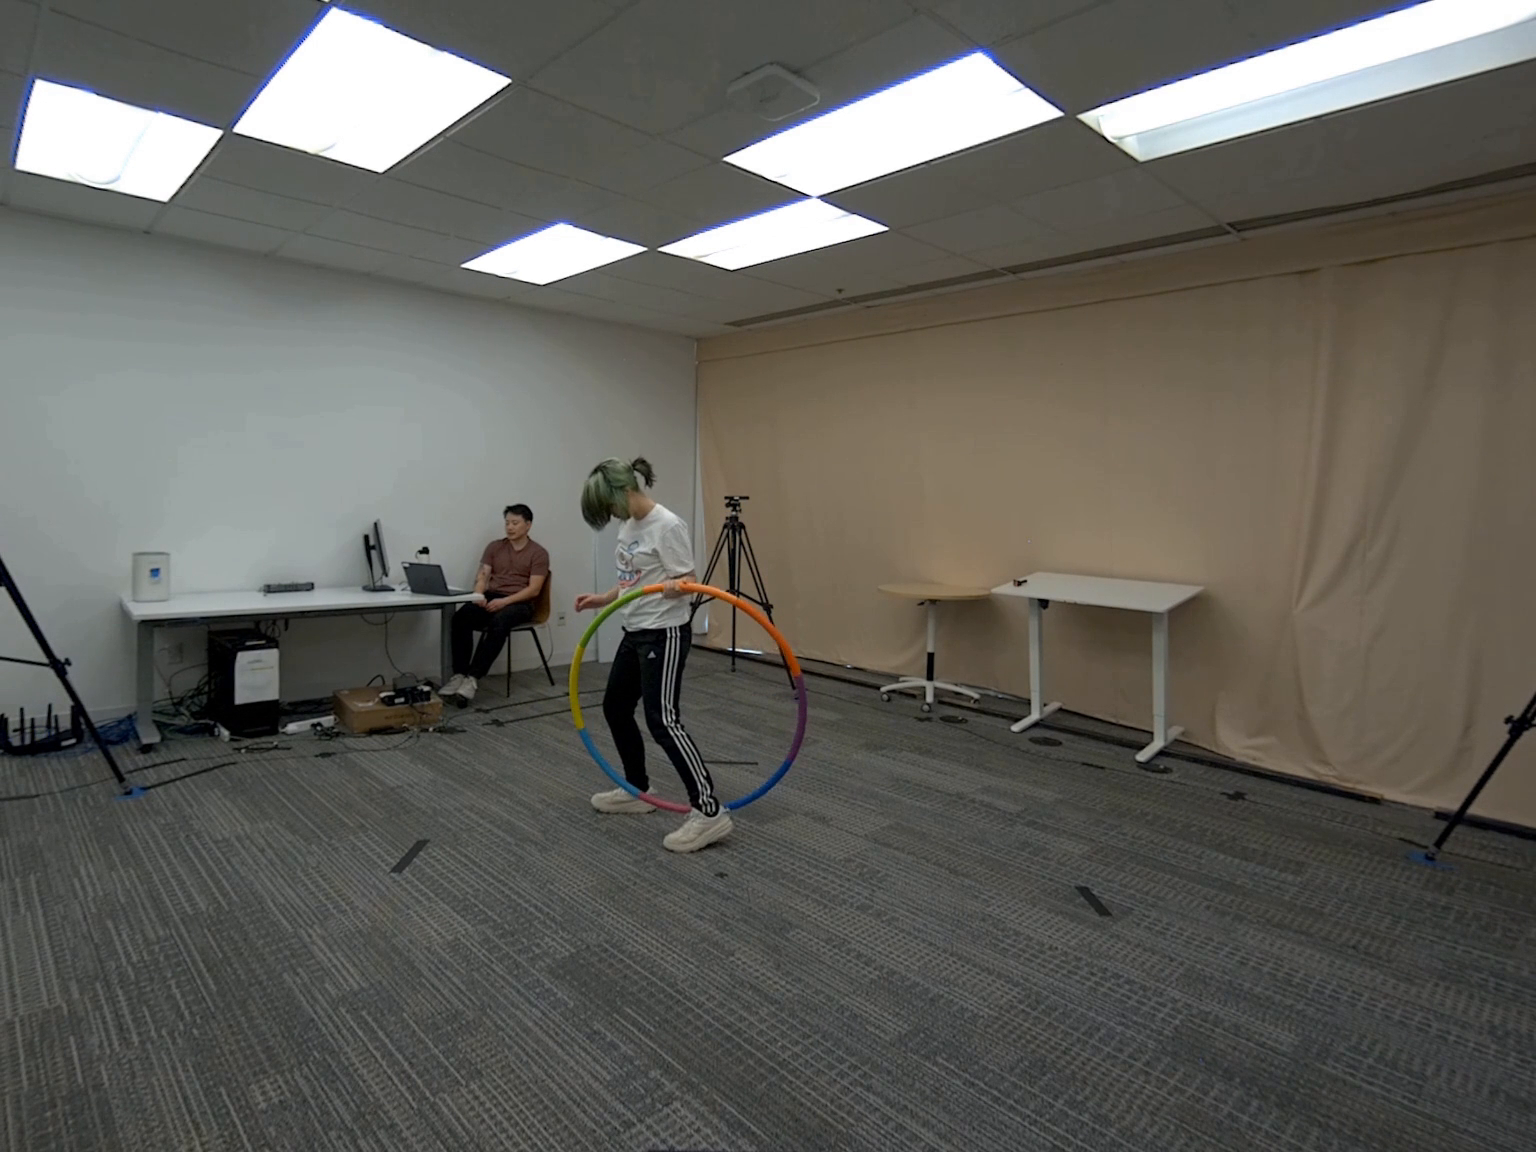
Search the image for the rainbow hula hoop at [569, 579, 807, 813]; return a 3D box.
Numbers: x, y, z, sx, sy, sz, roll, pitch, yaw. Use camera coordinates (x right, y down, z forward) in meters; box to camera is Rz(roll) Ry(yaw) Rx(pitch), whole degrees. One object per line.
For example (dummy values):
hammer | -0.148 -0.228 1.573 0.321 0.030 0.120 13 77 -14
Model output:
rainbow hula hoop | -0.340 0.503 3.350 0.987 0.969 0.035 2 14 11
